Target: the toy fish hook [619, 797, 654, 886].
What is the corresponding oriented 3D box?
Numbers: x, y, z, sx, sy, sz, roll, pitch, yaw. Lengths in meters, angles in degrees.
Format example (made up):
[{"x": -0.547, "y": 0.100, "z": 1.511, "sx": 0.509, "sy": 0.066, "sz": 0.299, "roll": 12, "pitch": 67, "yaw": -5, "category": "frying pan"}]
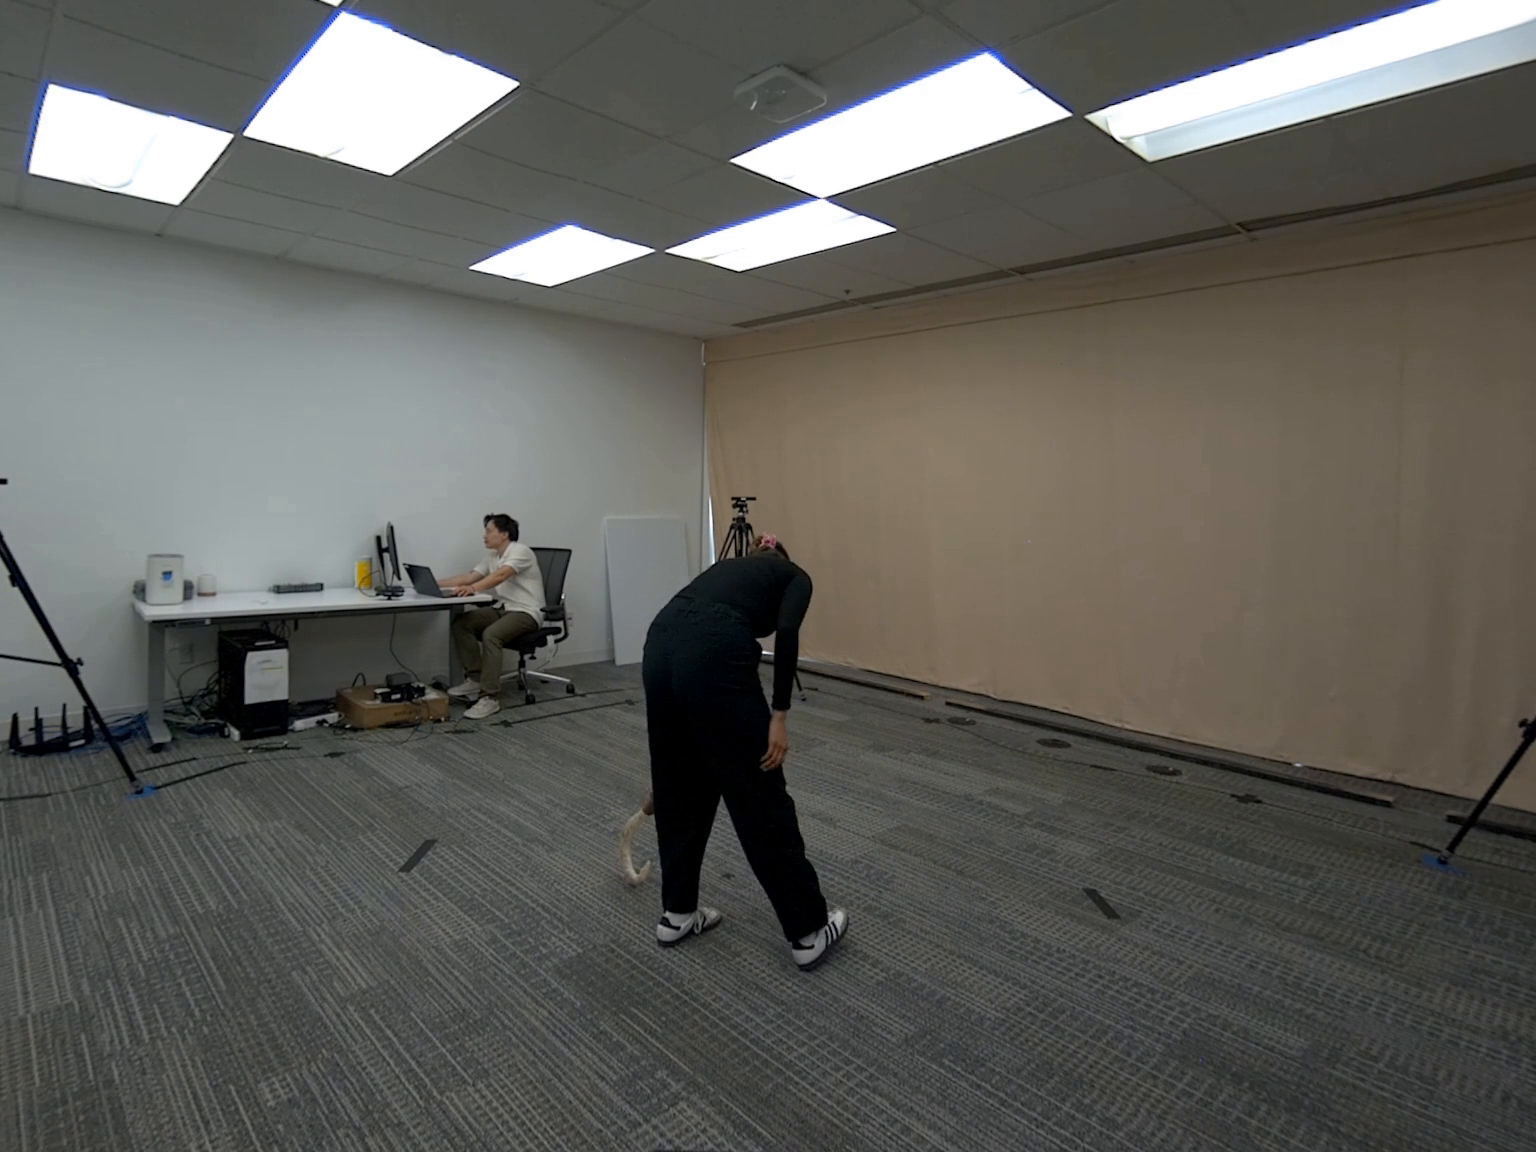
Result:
[{"x": -0.424, "y": 0.889, "z": 2.931, "sx": 0.047, "sy": 0.502, "sz": 0.231, "roll": 1, "pitch": 41, "yaw": -36, "category": "toy fish hook"}]
